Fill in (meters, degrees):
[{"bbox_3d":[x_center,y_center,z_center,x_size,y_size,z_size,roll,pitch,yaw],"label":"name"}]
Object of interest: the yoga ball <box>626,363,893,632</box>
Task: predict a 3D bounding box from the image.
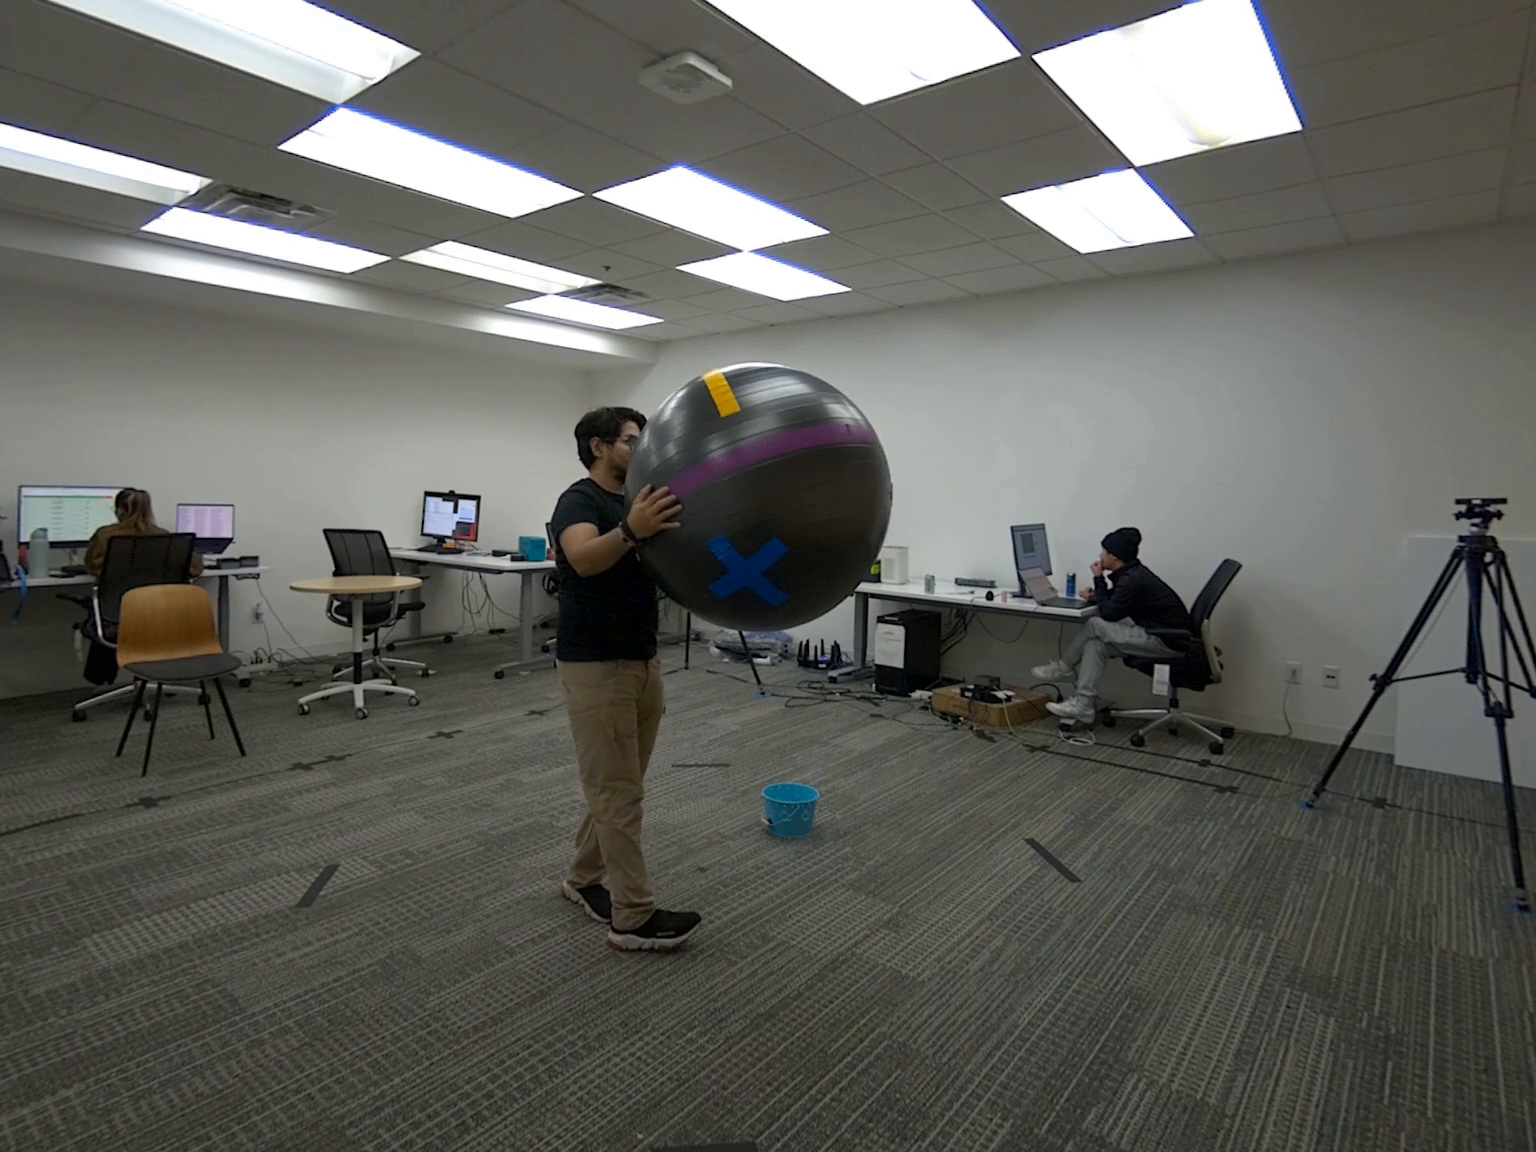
[{"bbox_3d":[-0.039,-0.219,2.423,0.757,0.755,0.762,1,4,-2],"label":"yoga ball"}]
